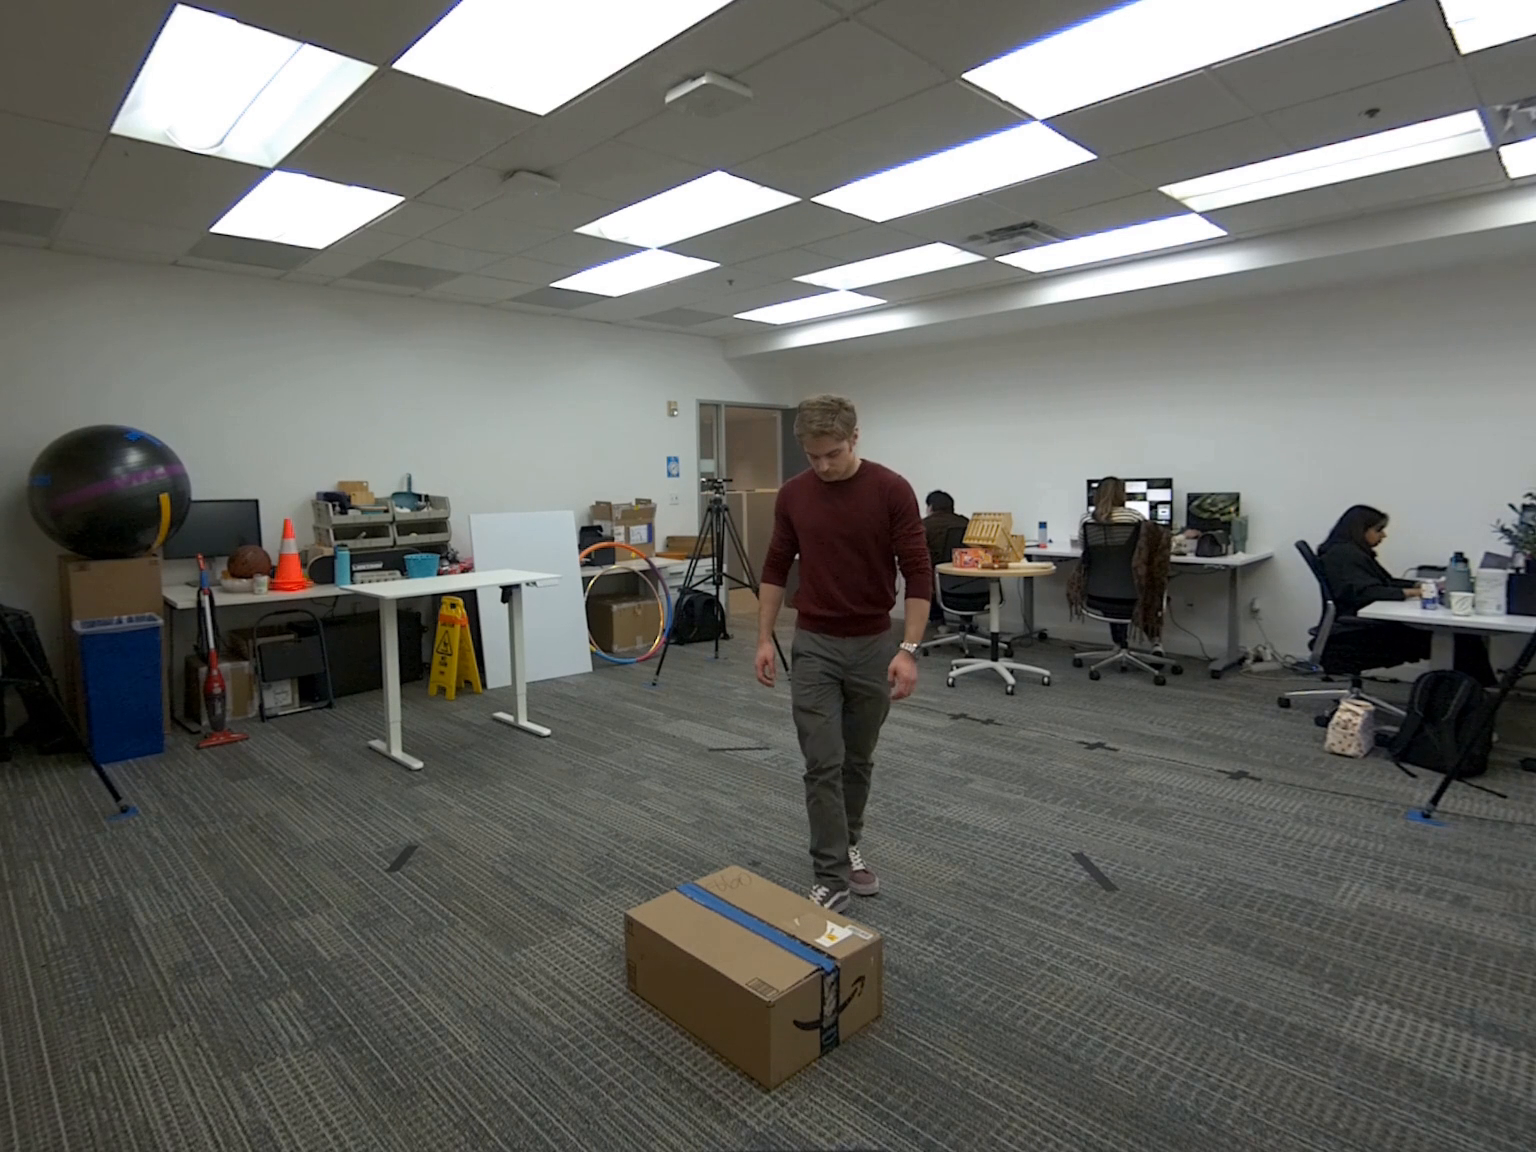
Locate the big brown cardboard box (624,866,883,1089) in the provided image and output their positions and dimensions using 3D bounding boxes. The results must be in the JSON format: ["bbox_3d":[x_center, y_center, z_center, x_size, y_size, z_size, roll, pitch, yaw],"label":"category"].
[{"bbox_3d":[-0.046,1.028,2.282,0.407,0.232,0.607,-7,8,-43],"label":"big brown cardboard box"}]
